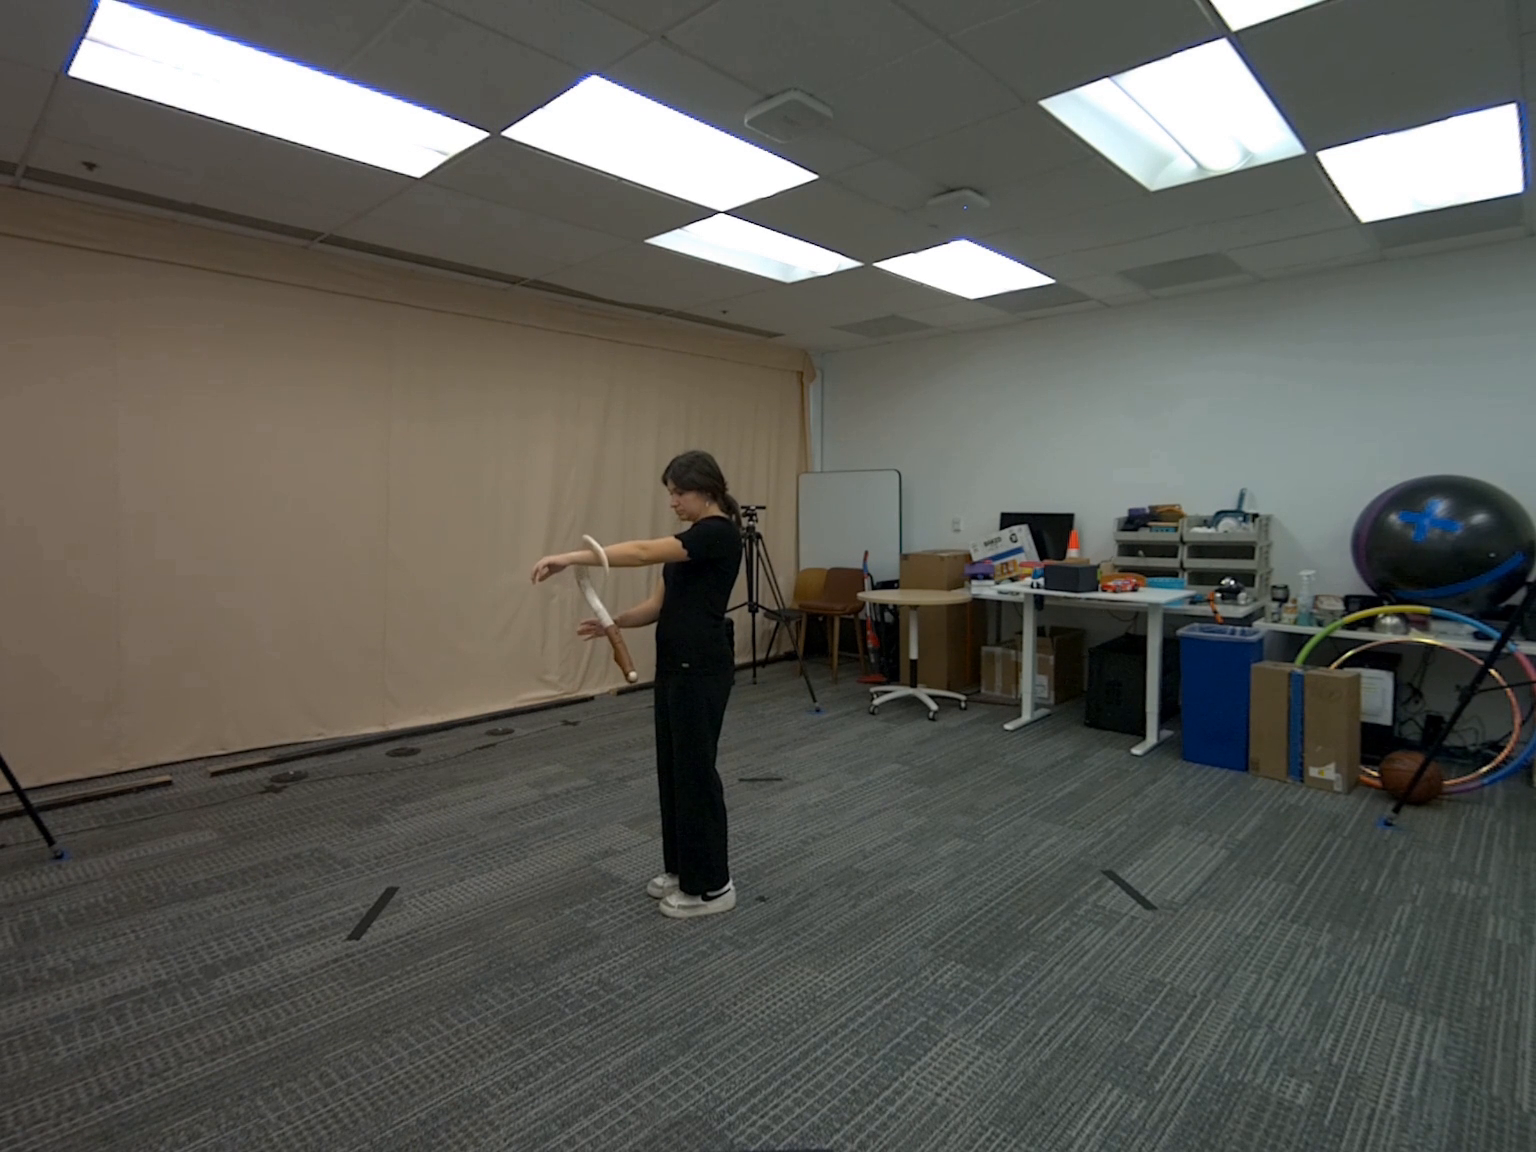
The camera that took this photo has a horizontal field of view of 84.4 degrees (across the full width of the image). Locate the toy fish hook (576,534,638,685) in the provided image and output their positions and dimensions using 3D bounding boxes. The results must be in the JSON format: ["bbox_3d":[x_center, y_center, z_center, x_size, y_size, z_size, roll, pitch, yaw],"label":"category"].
[{"bbox_3d":[-0.509,0.095,2.640,0.047,0.520,0.223,-12,-32,-29],"label":"toy fish hook"}]
